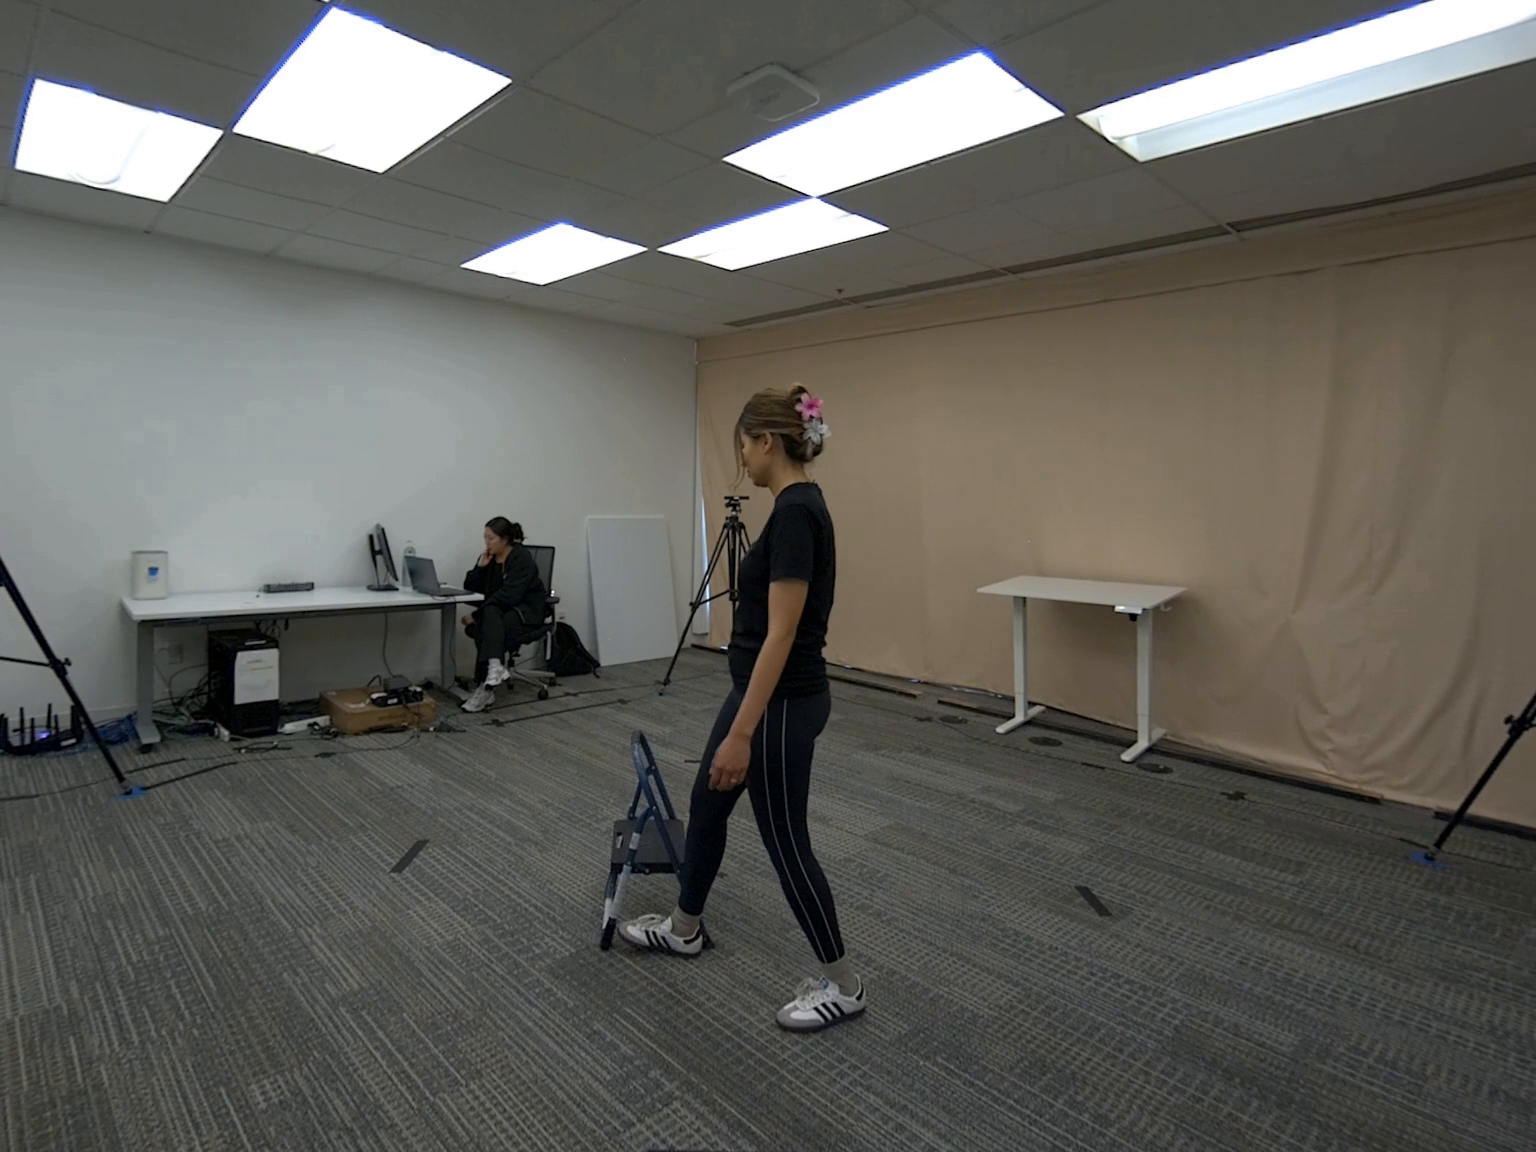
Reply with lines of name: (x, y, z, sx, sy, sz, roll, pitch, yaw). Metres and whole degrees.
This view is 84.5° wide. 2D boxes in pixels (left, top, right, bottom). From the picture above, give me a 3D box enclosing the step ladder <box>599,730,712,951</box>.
step ladder: (-0.366, 0.827, 2.763, 0.347, 0.605, 0.434, 1, 3, -8)
